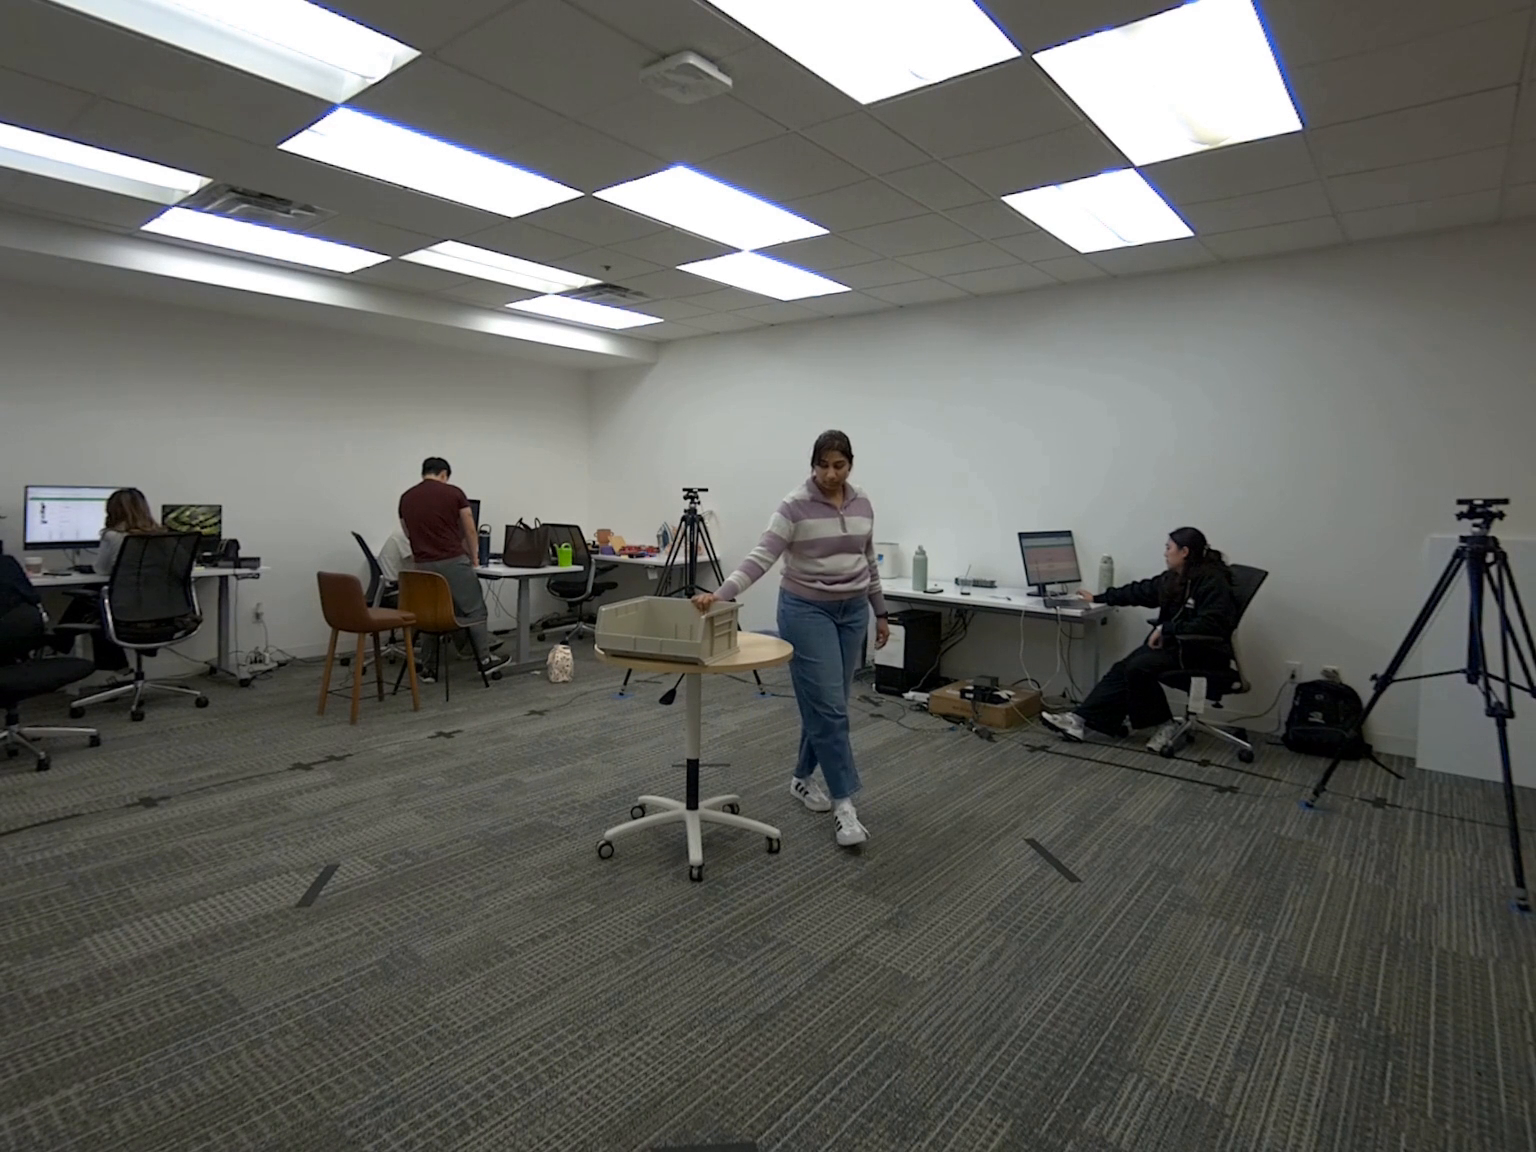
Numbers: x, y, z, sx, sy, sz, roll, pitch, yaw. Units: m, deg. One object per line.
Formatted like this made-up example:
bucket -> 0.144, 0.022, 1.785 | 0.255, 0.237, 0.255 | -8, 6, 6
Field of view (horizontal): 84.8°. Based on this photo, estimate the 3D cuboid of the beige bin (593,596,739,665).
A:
beige bin -> -0.366, 0.196, 3.113 | 0.432, 0.188, 0.370 | 2, 4, 20
